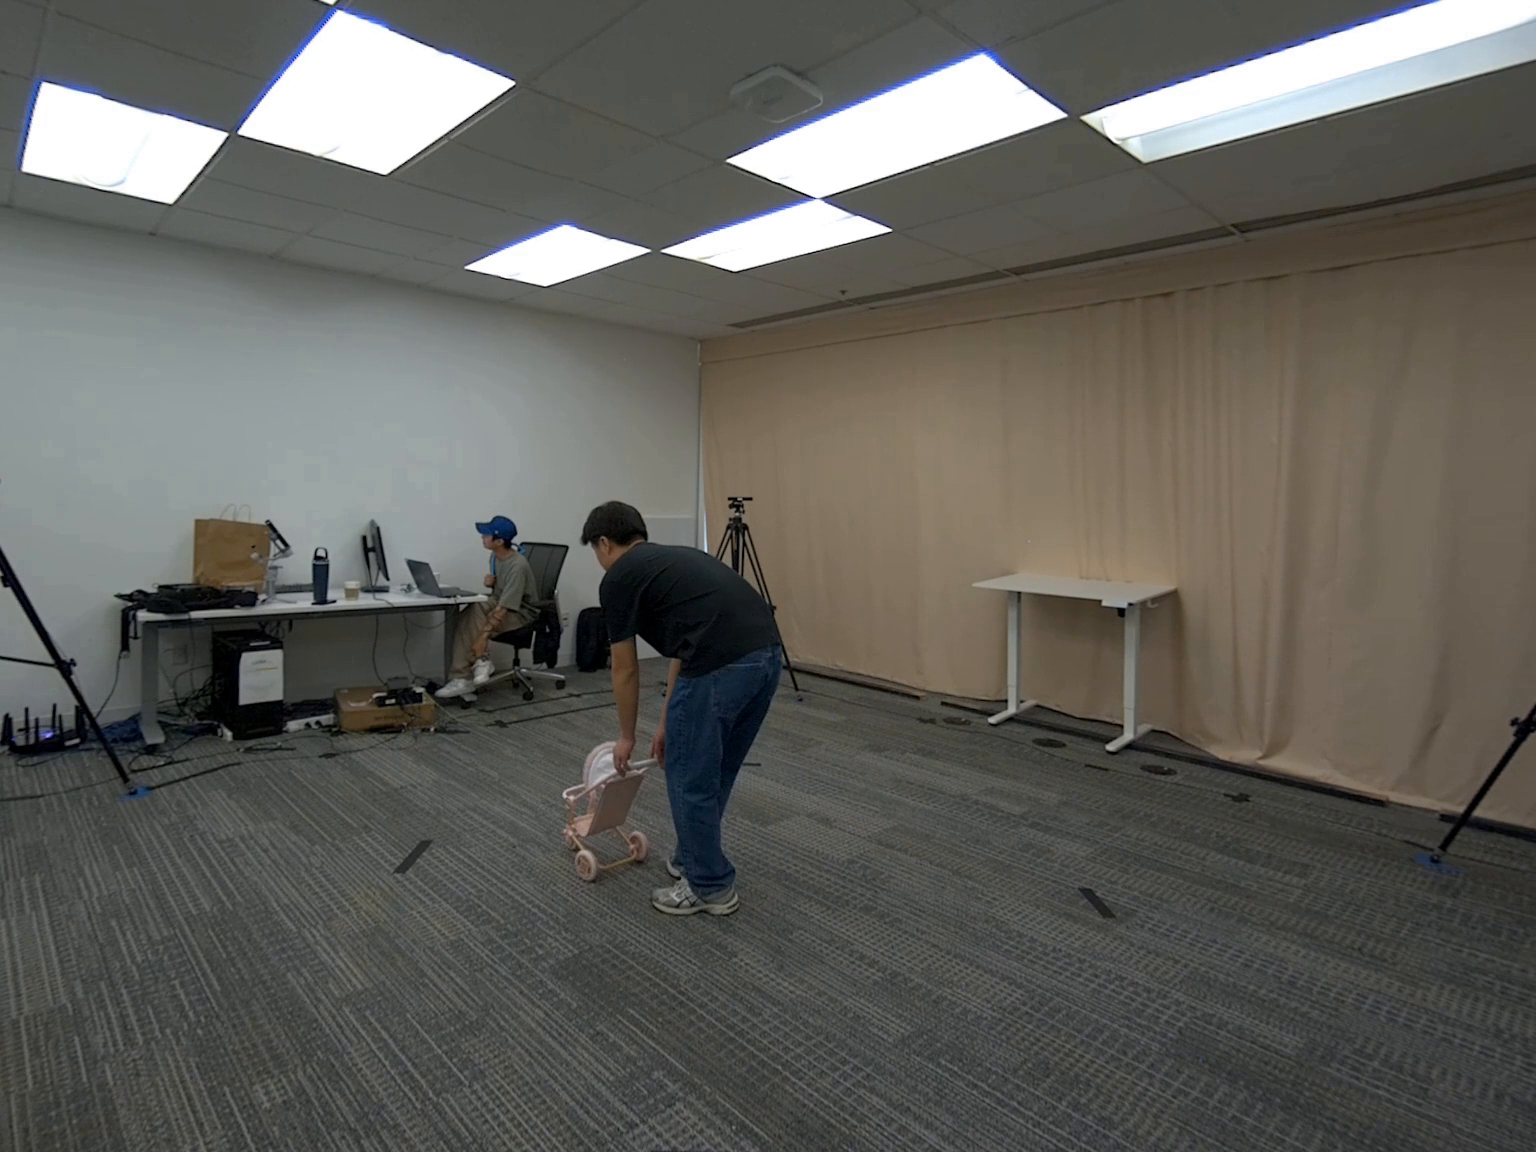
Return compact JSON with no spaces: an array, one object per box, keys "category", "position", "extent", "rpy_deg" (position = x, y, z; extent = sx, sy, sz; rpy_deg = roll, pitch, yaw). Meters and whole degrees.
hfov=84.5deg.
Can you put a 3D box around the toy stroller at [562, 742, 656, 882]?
[{"category":"toy stroller","position":[-0.622,0.861,3.168],"extent":[0.275,0.531,0.352],"rpy_deg":[0,19,-44]}]
